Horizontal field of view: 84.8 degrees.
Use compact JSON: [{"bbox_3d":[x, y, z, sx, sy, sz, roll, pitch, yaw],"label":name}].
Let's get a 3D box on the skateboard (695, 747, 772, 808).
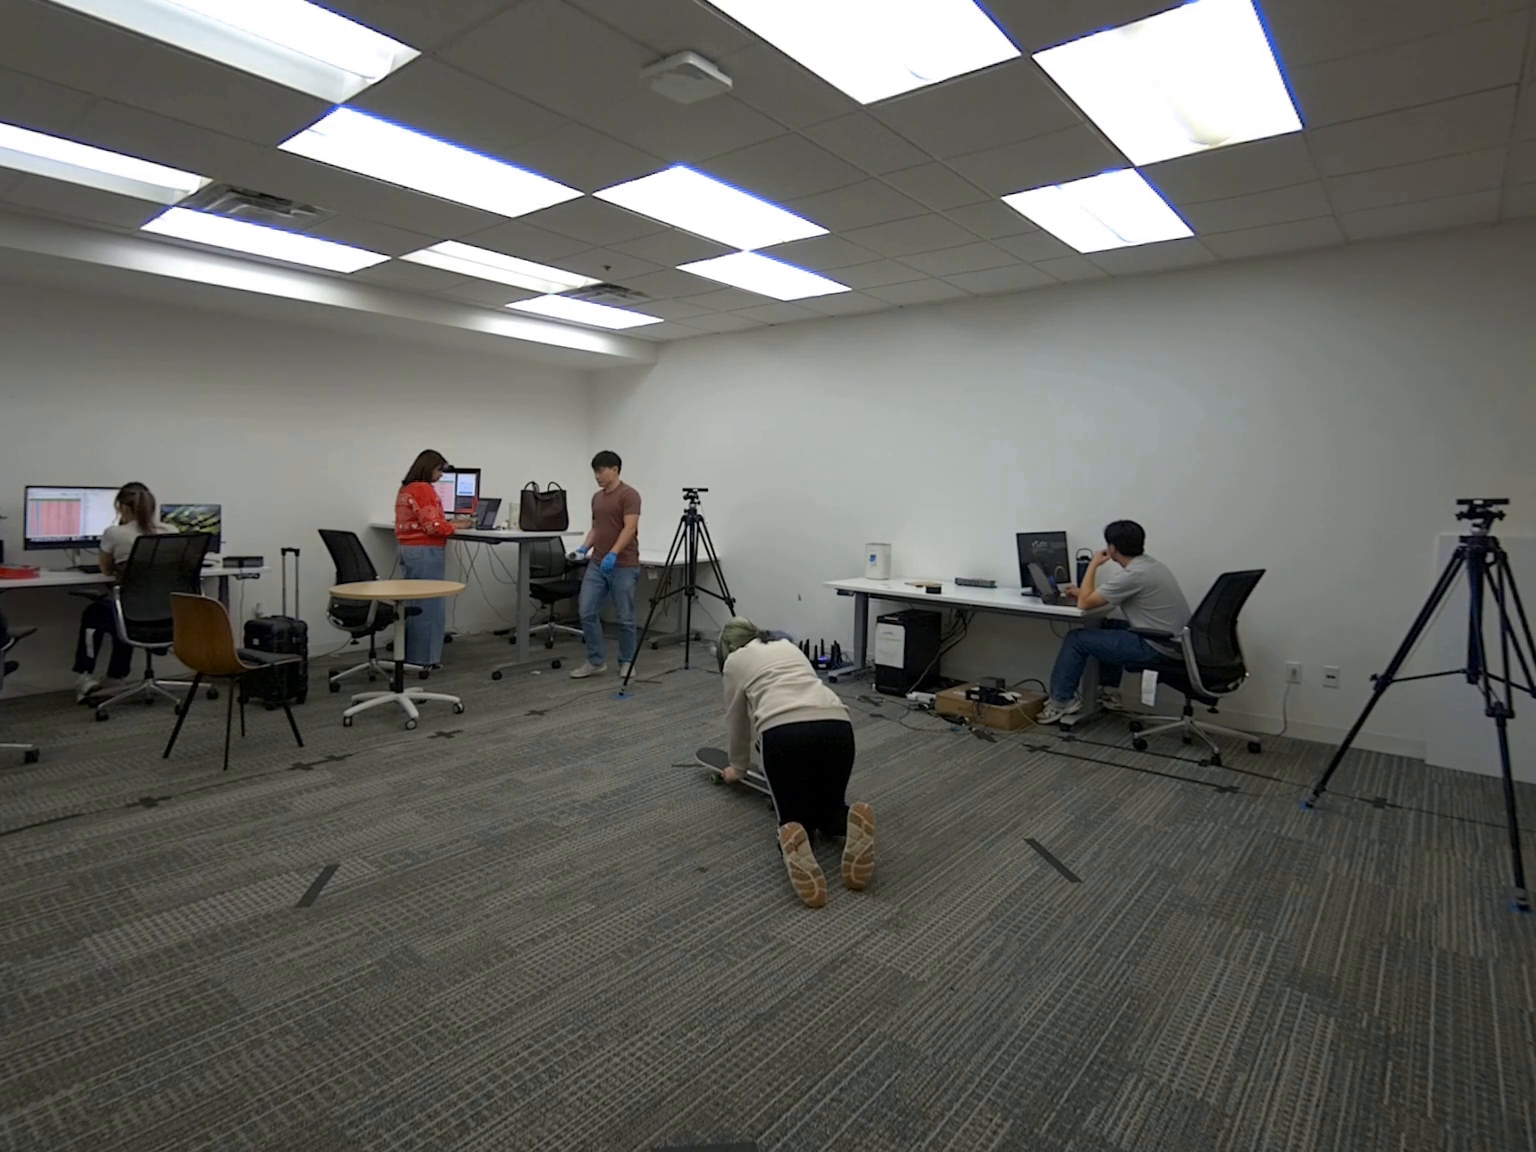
[{"bbox_3d":[-0.075,0.934,3.913,0.188,0.110,0.812,-3,7,-40],"label":"skateboard"}]
